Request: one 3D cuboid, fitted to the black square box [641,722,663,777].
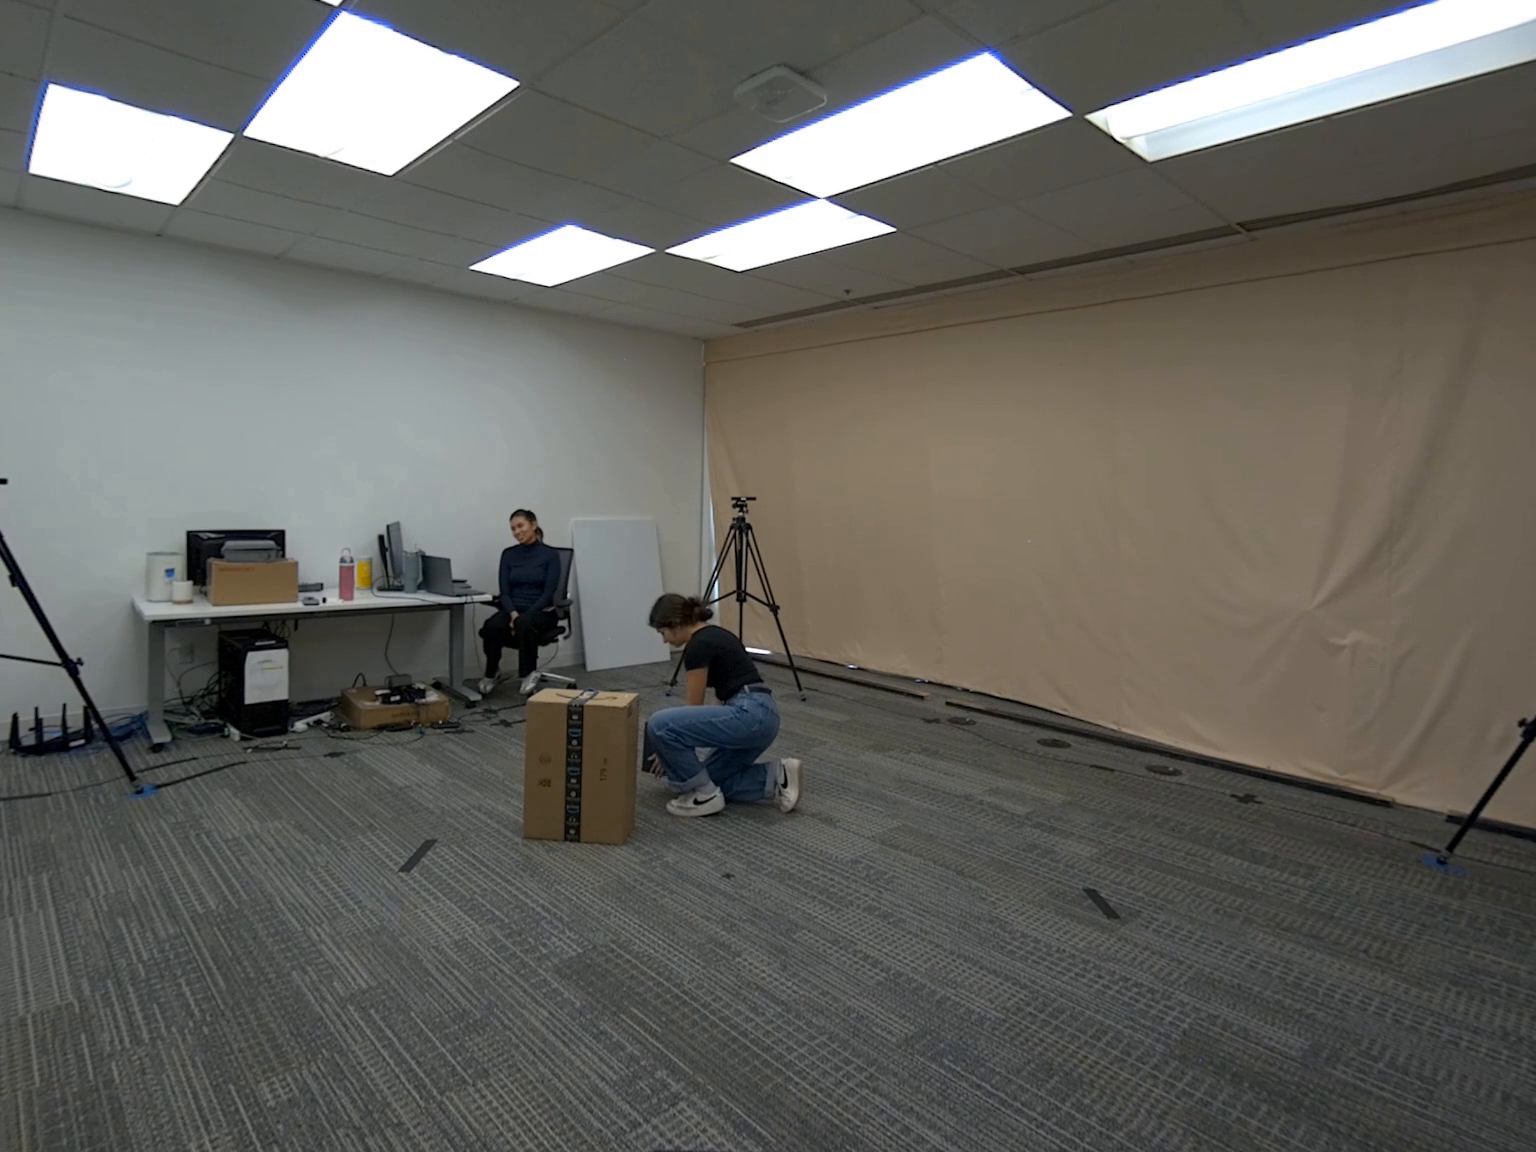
[{"bbox_3d":[-0.465,0.785,3.948,0.158,0.228,0.214,3,2,20],"label":"black square box"}]
